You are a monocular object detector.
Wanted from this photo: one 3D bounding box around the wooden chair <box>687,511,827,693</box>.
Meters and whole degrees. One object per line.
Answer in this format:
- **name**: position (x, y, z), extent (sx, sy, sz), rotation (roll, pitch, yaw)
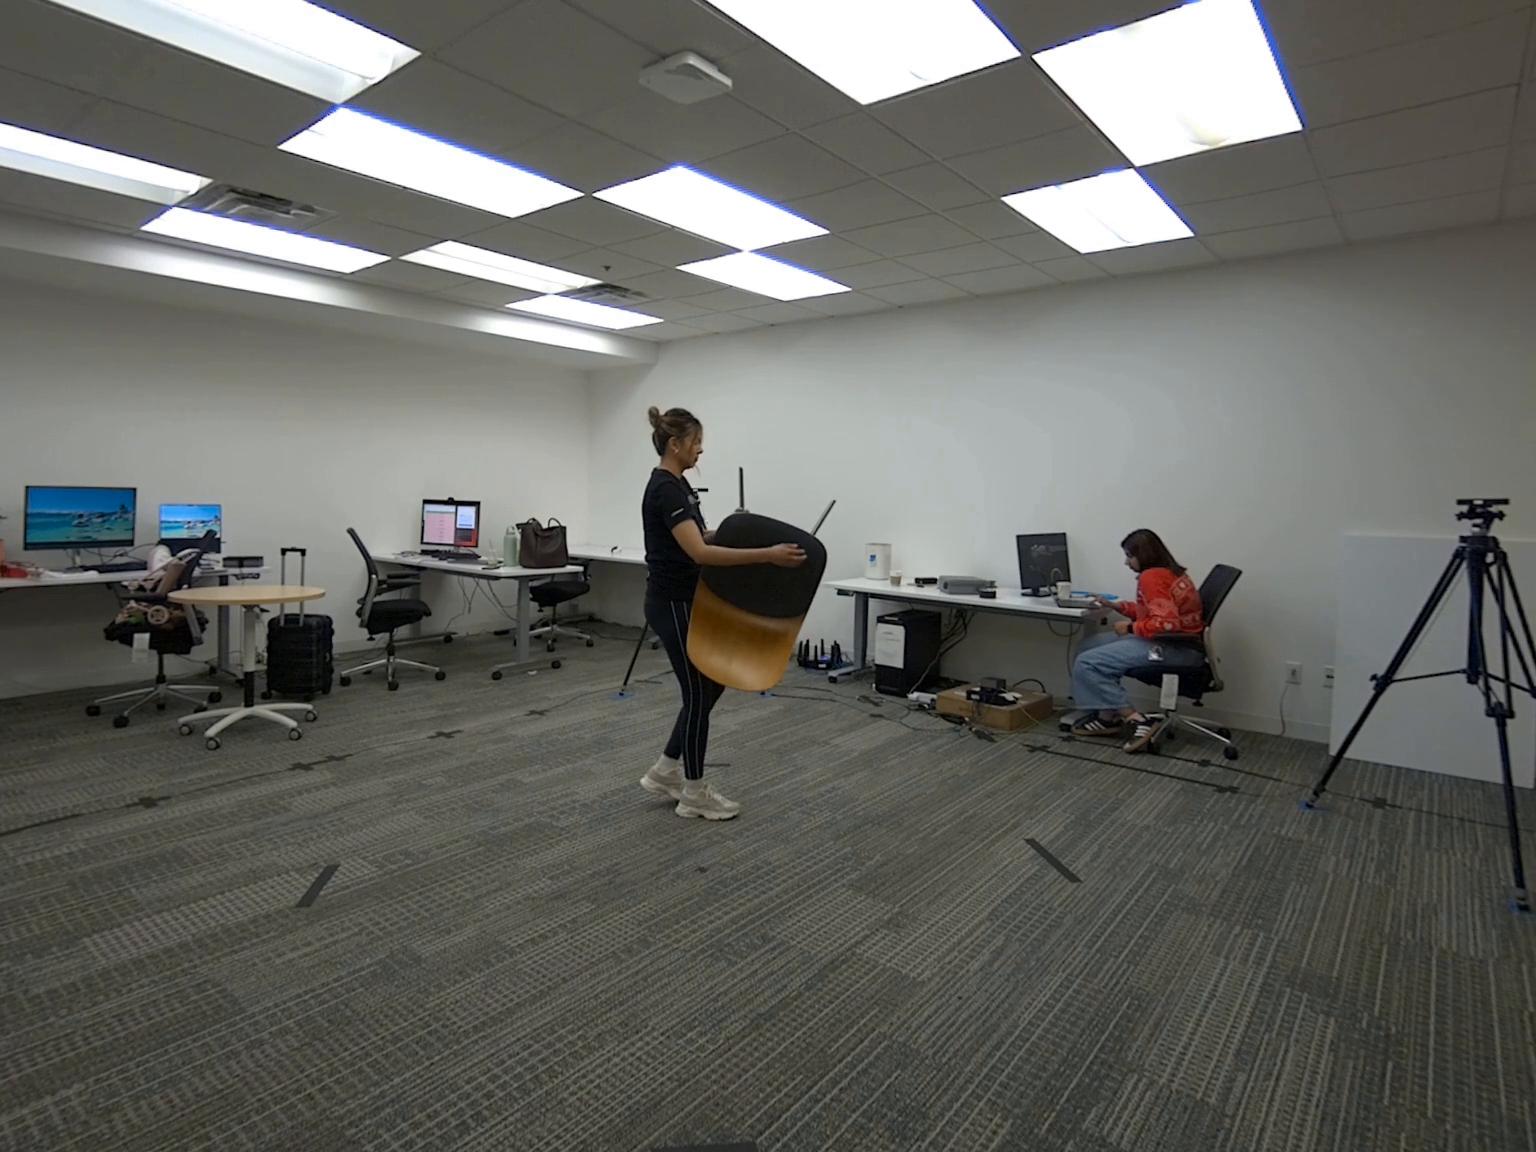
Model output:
- **wooden chair**: position (-0.033, -0.011, 3.511), extent (0.477, 0.515, 0.893), rotation (19, 35, -4)
